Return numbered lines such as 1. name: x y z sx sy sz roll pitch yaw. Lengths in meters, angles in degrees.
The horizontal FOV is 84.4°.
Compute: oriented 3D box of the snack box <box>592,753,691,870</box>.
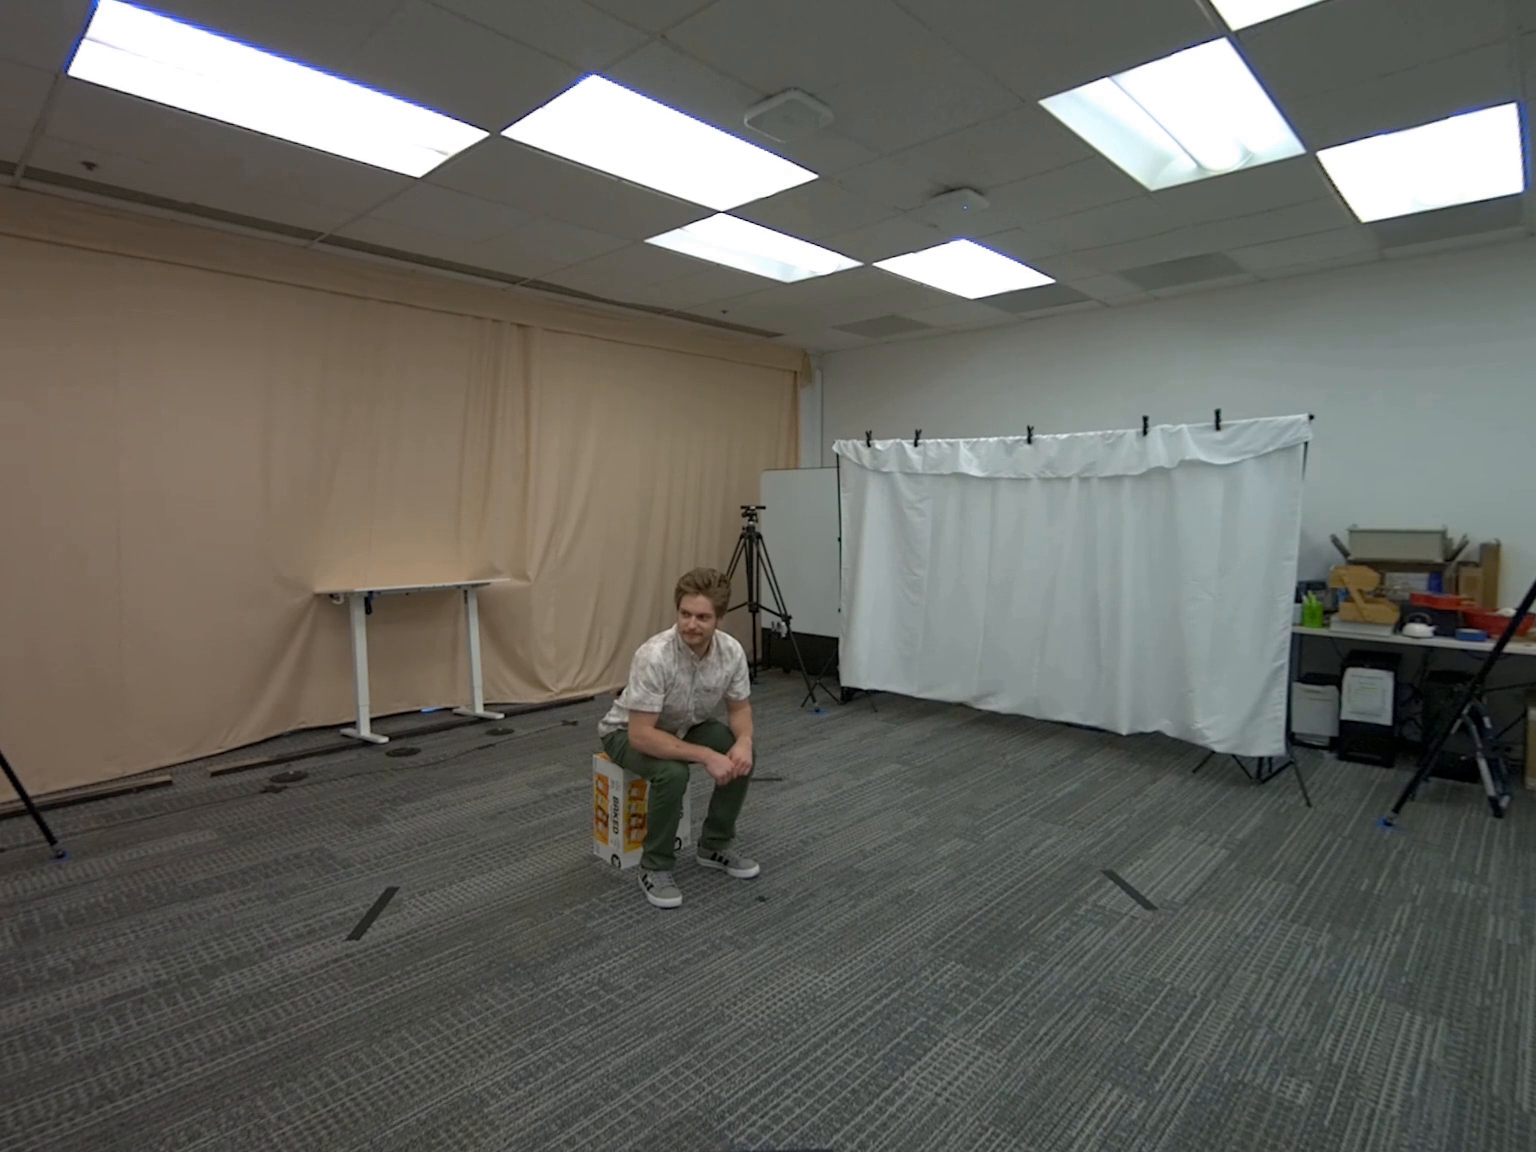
1. snack box: -0.510 0.913 3.406 0.330 0.404 0.213 -4 7 -44
